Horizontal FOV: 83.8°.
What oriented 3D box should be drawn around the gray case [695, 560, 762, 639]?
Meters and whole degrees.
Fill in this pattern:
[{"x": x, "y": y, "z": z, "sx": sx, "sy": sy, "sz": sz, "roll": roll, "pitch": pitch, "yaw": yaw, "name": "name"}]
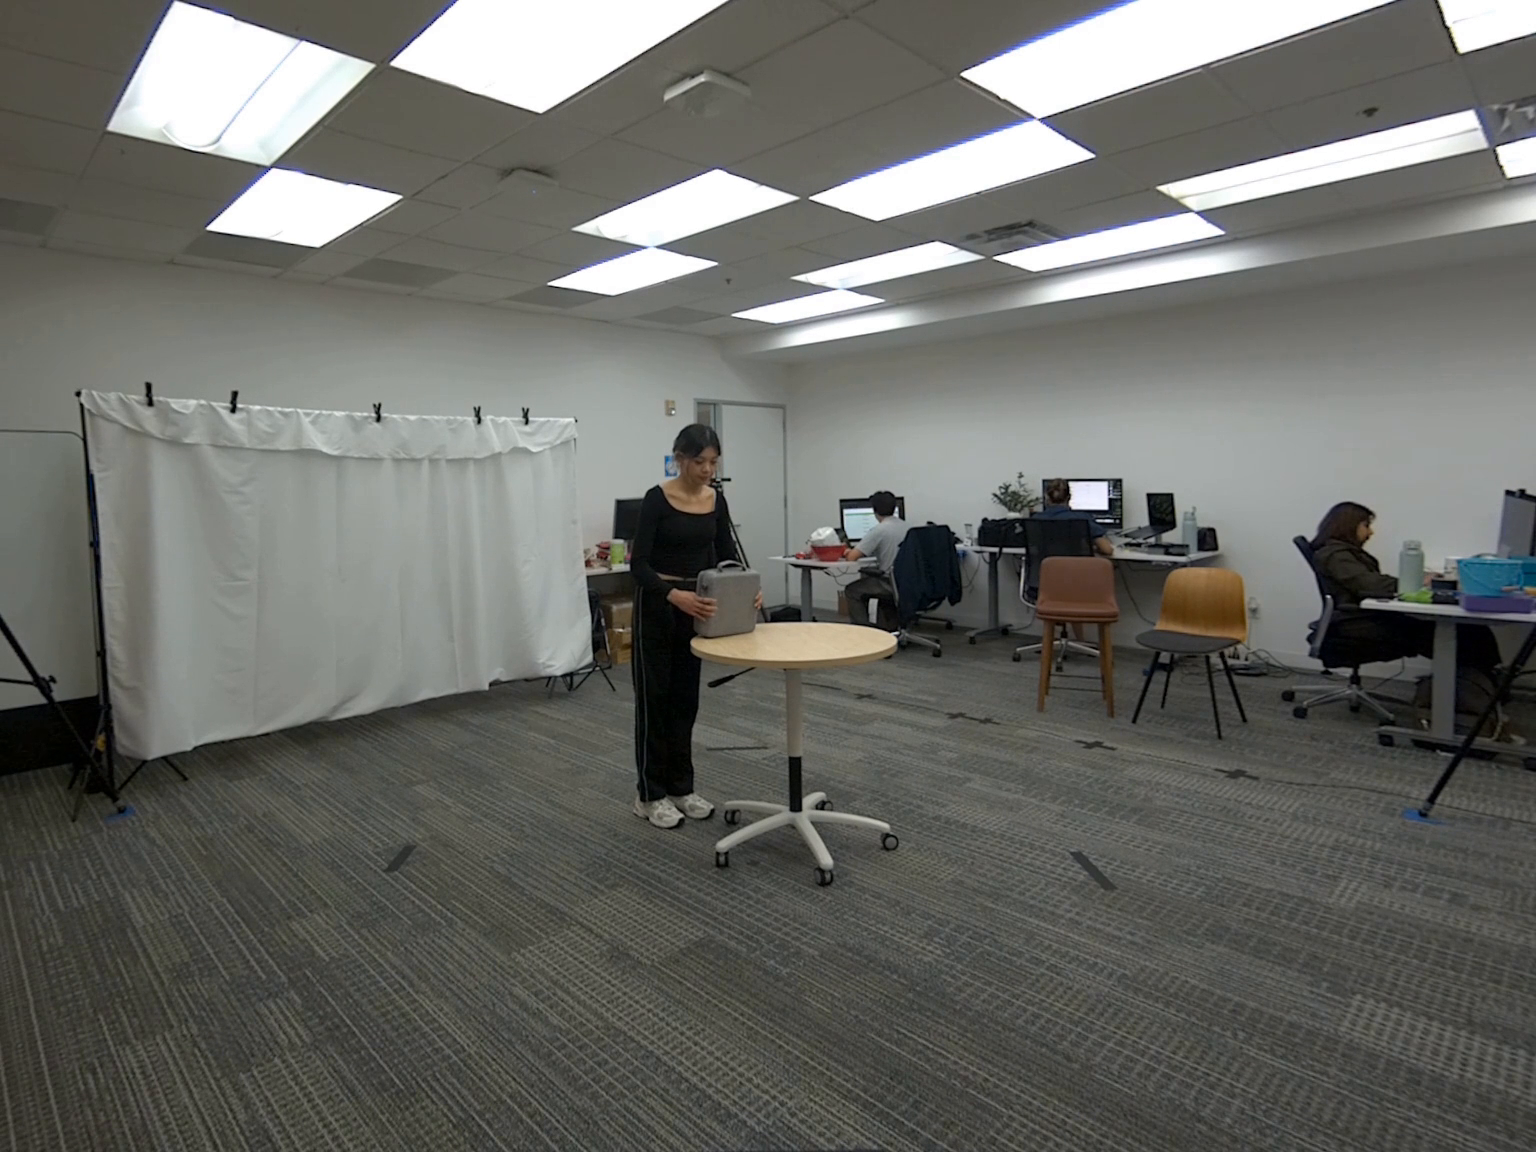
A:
[{"x": -0.164, "y": 0.097, "z": 3.314, "sx": 0.251, "sy": 0.258, "sz": 0.108, "roll": -1, "pitch": 12, "yaw": -29, "name": "gray case"}]
